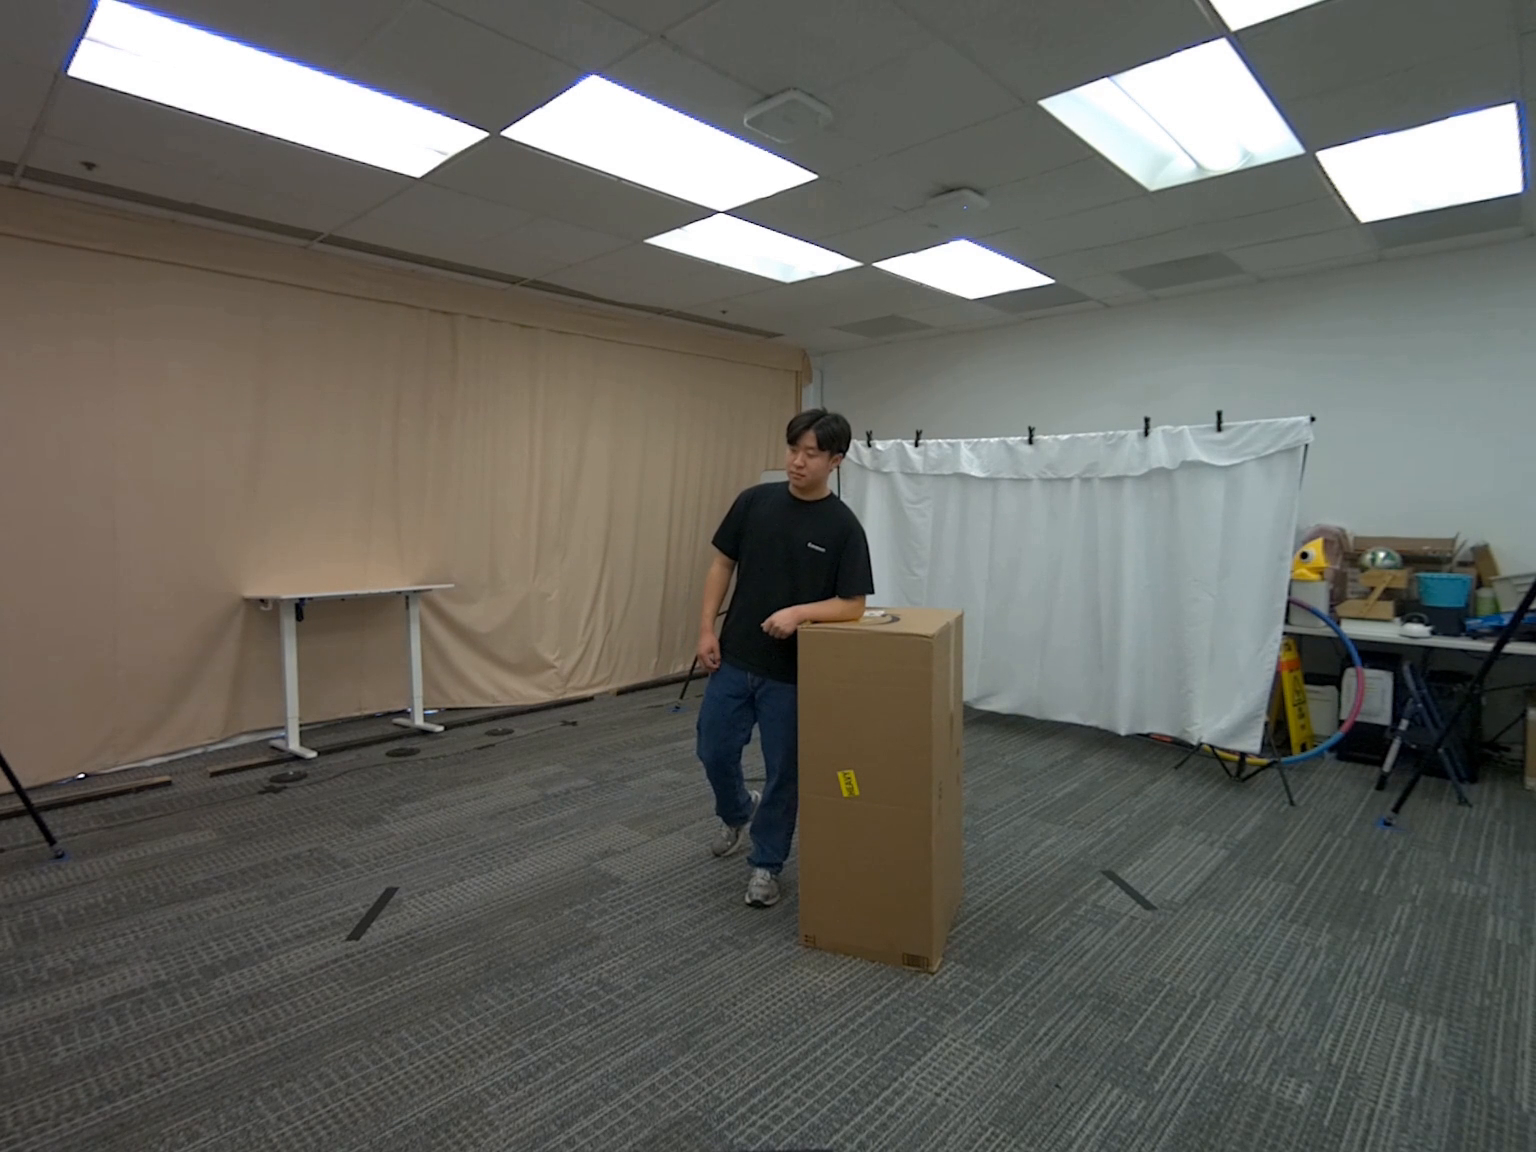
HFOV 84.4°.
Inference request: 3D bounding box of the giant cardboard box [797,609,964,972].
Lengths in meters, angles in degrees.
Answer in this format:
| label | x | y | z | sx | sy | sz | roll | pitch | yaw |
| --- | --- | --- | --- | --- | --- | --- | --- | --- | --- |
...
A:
| label | x | y | z | sx | sy | sz | roll | pitch | yaw |
| --- | --- | --- | --- | --- | --- | --- | --- | --- | --- |
| giant cardboard box | 0.399 | 0.645 | 2.812 | 0.458 | 1.025 | 0.571 | 0 | 3 | 24 |
